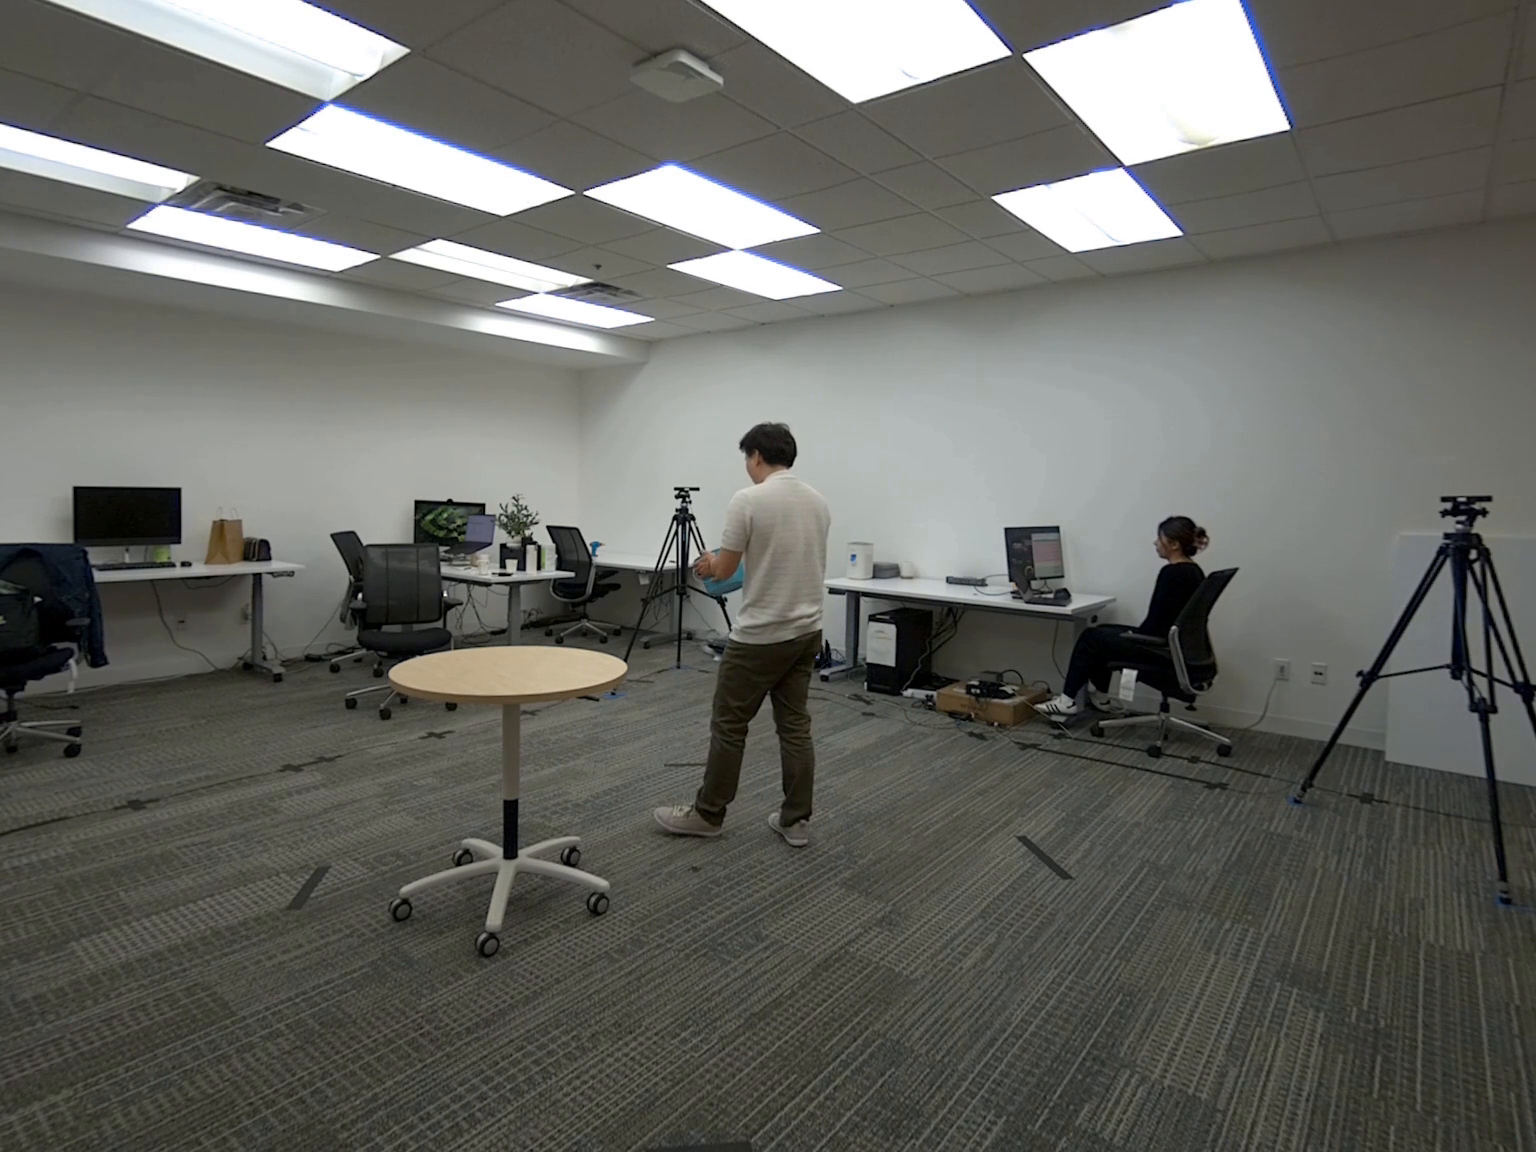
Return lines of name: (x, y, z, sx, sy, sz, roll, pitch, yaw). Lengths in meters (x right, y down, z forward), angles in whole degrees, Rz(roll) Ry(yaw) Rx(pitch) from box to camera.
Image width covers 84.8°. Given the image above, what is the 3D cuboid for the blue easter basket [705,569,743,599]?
blue easter basket: (-0.198, -0.019, 3.644, 0.242, 0.159, 0.240, -16, -13, -6)
